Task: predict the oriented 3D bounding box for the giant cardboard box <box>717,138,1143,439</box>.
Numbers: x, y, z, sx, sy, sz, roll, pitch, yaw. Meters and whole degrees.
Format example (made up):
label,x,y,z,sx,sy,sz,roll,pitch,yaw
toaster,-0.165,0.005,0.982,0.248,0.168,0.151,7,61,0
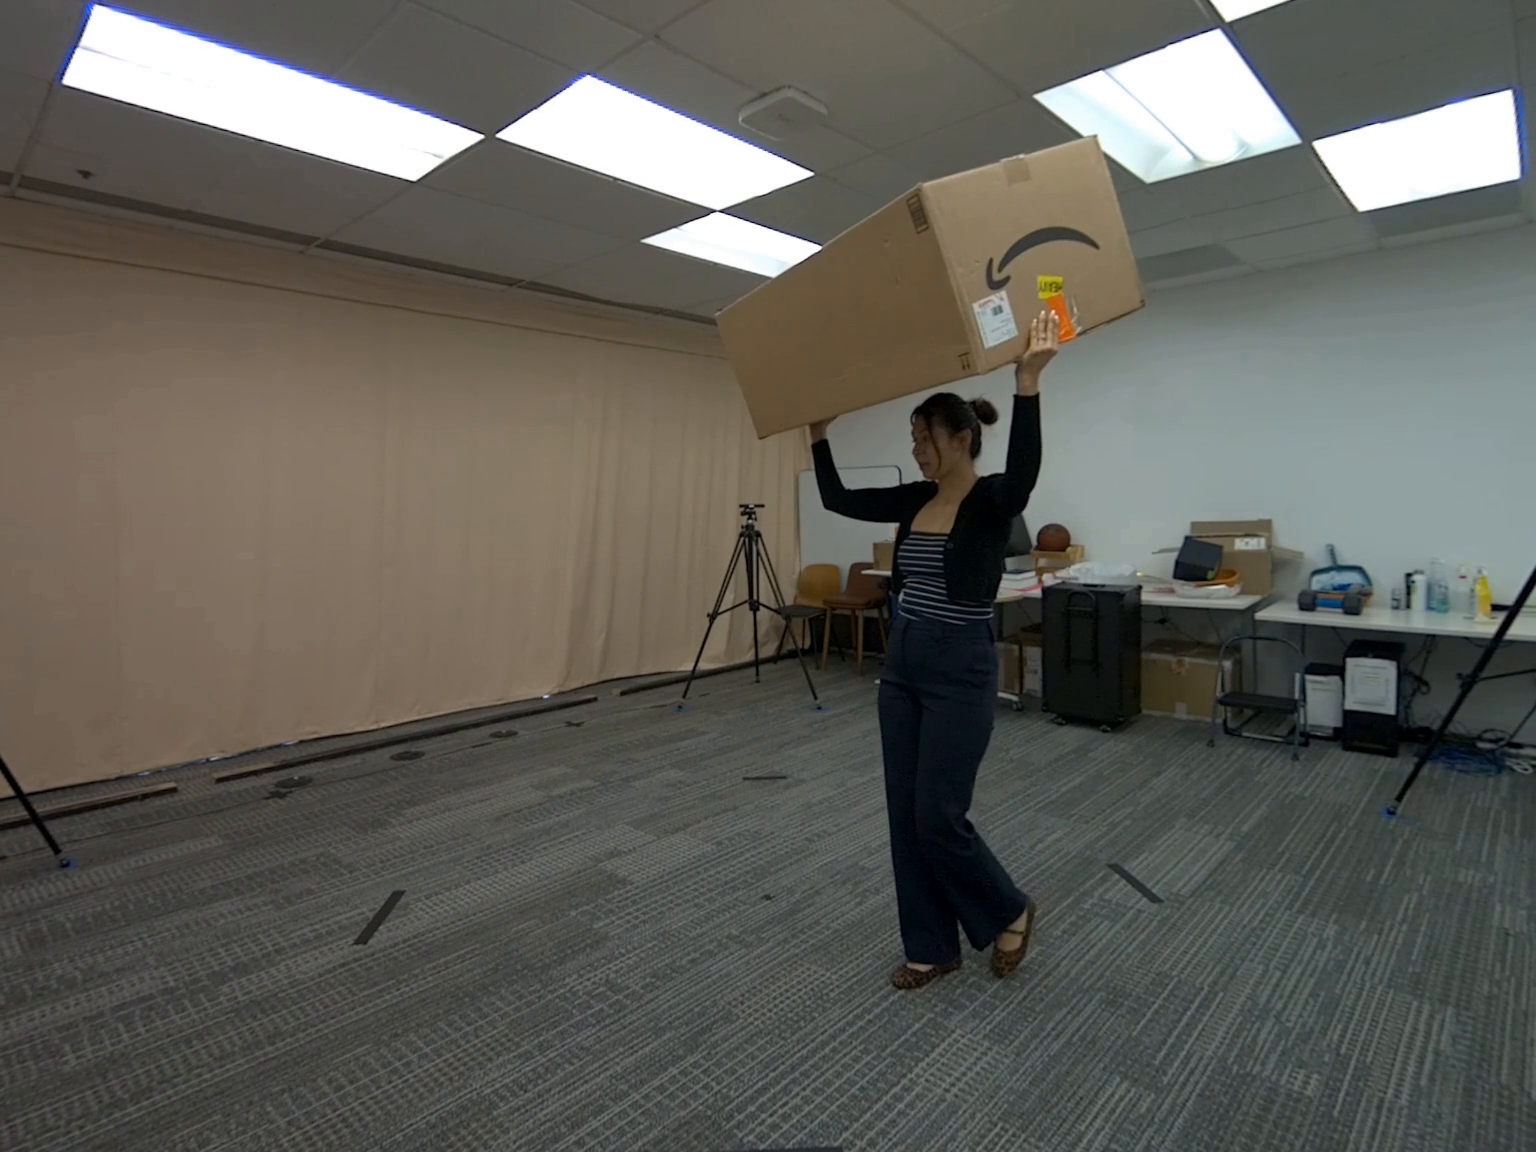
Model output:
label,x,y,z,sx,sy,sz,roll,pitch,yaw
giant cardboard box,0.380,-0.736,2.365,0.568,0.422,1.052,-25,11,-25
